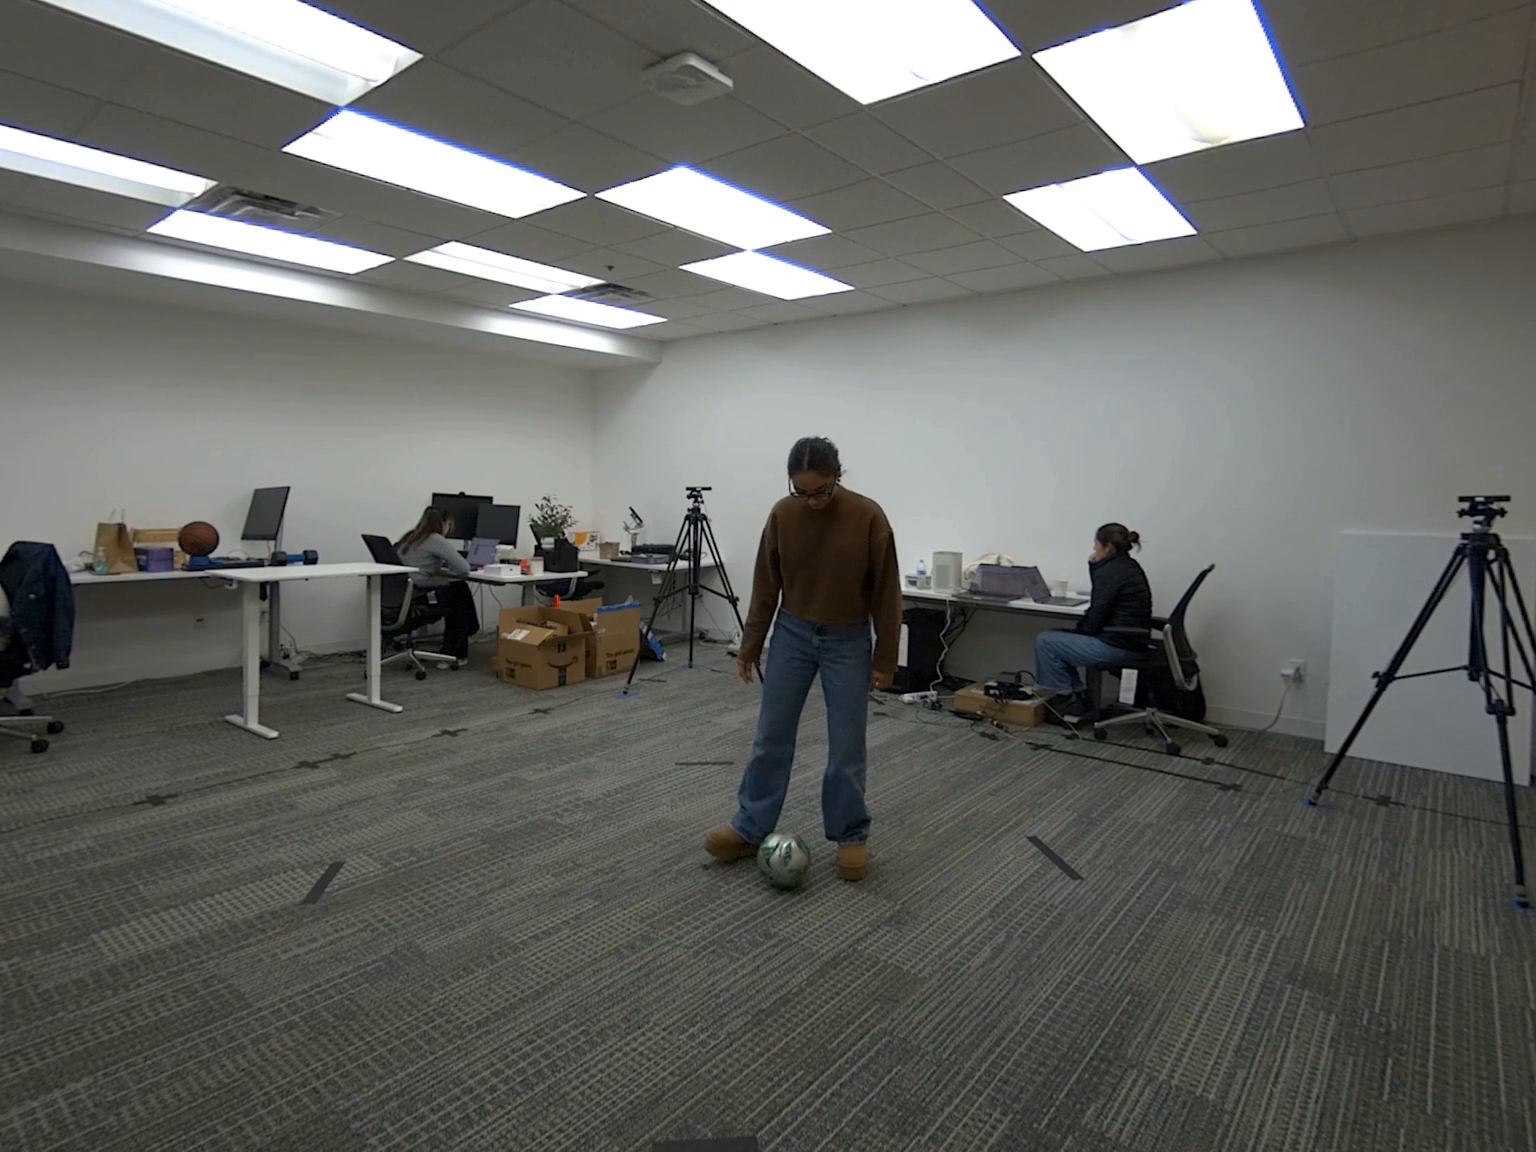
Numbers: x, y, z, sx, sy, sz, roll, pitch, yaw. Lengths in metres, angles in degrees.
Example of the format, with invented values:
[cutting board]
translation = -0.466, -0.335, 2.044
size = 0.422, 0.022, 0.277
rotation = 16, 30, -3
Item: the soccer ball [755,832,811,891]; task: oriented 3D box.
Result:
[soccer ball]
translation = 0.049, 0.988, 2.982
size = 0.187, 0.187, 0.188
rotation = 1, 4, -2
